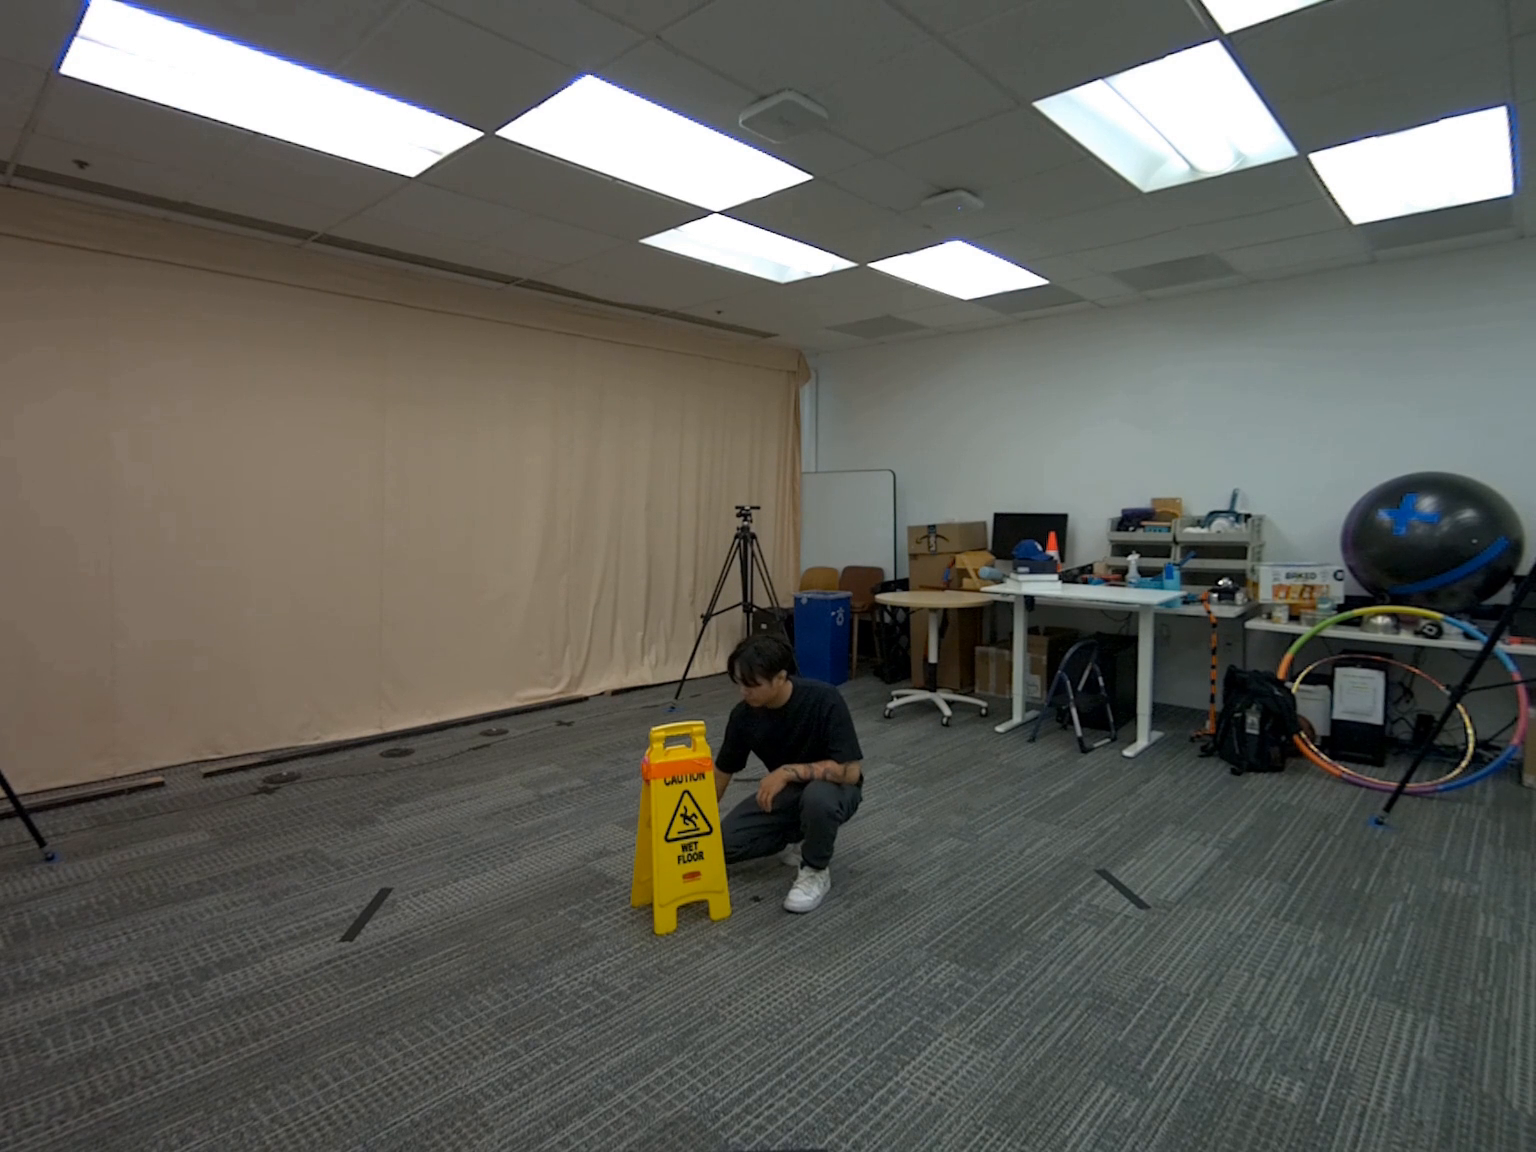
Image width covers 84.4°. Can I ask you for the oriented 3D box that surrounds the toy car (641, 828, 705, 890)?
[{"bbox_3d":[-0.368,1.096,3.305,0.133,0.082,0.251,0,16,25],"label":"toy car"}]
